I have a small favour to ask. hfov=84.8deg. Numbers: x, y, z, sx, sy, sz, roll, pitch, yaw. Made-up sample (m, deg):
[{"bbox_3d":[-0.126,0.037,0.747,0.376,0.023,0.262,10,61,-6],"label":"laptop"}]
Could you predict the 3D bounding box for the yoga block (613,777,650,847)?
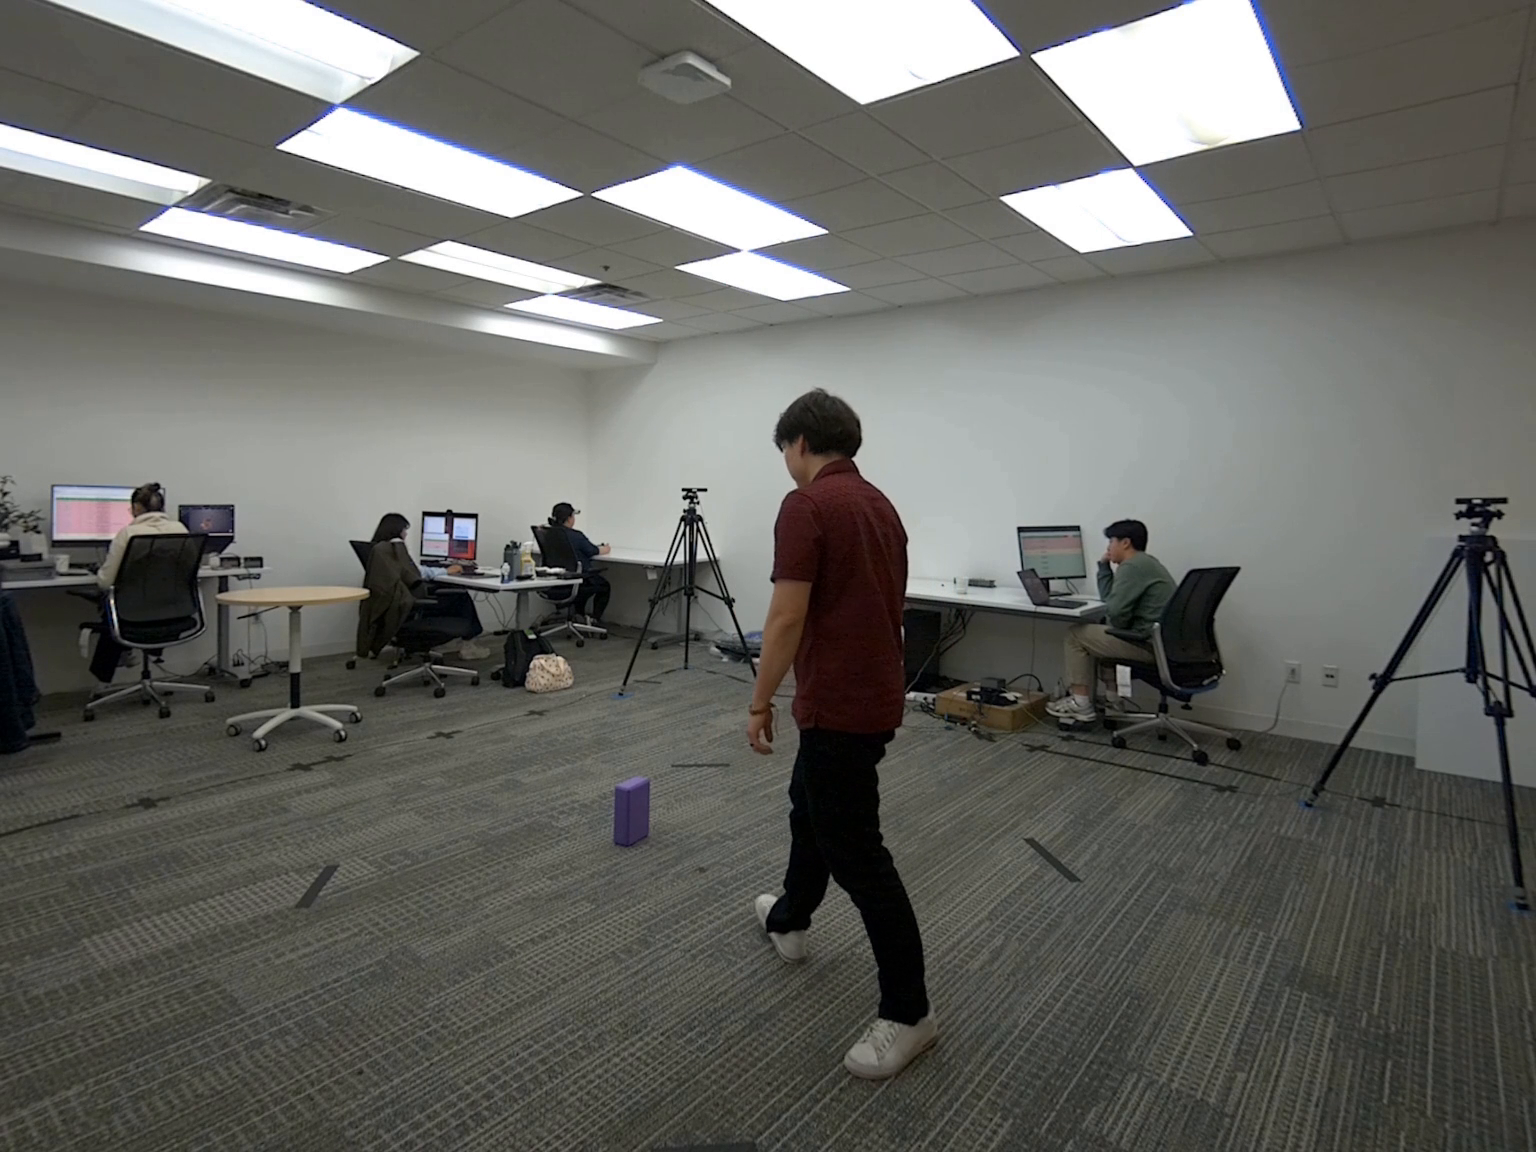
[{"bbox_3d":[-0.550,0.925,3.358,0.078,0.229,0.145,2,3,27],"label":"yoga block"}]
